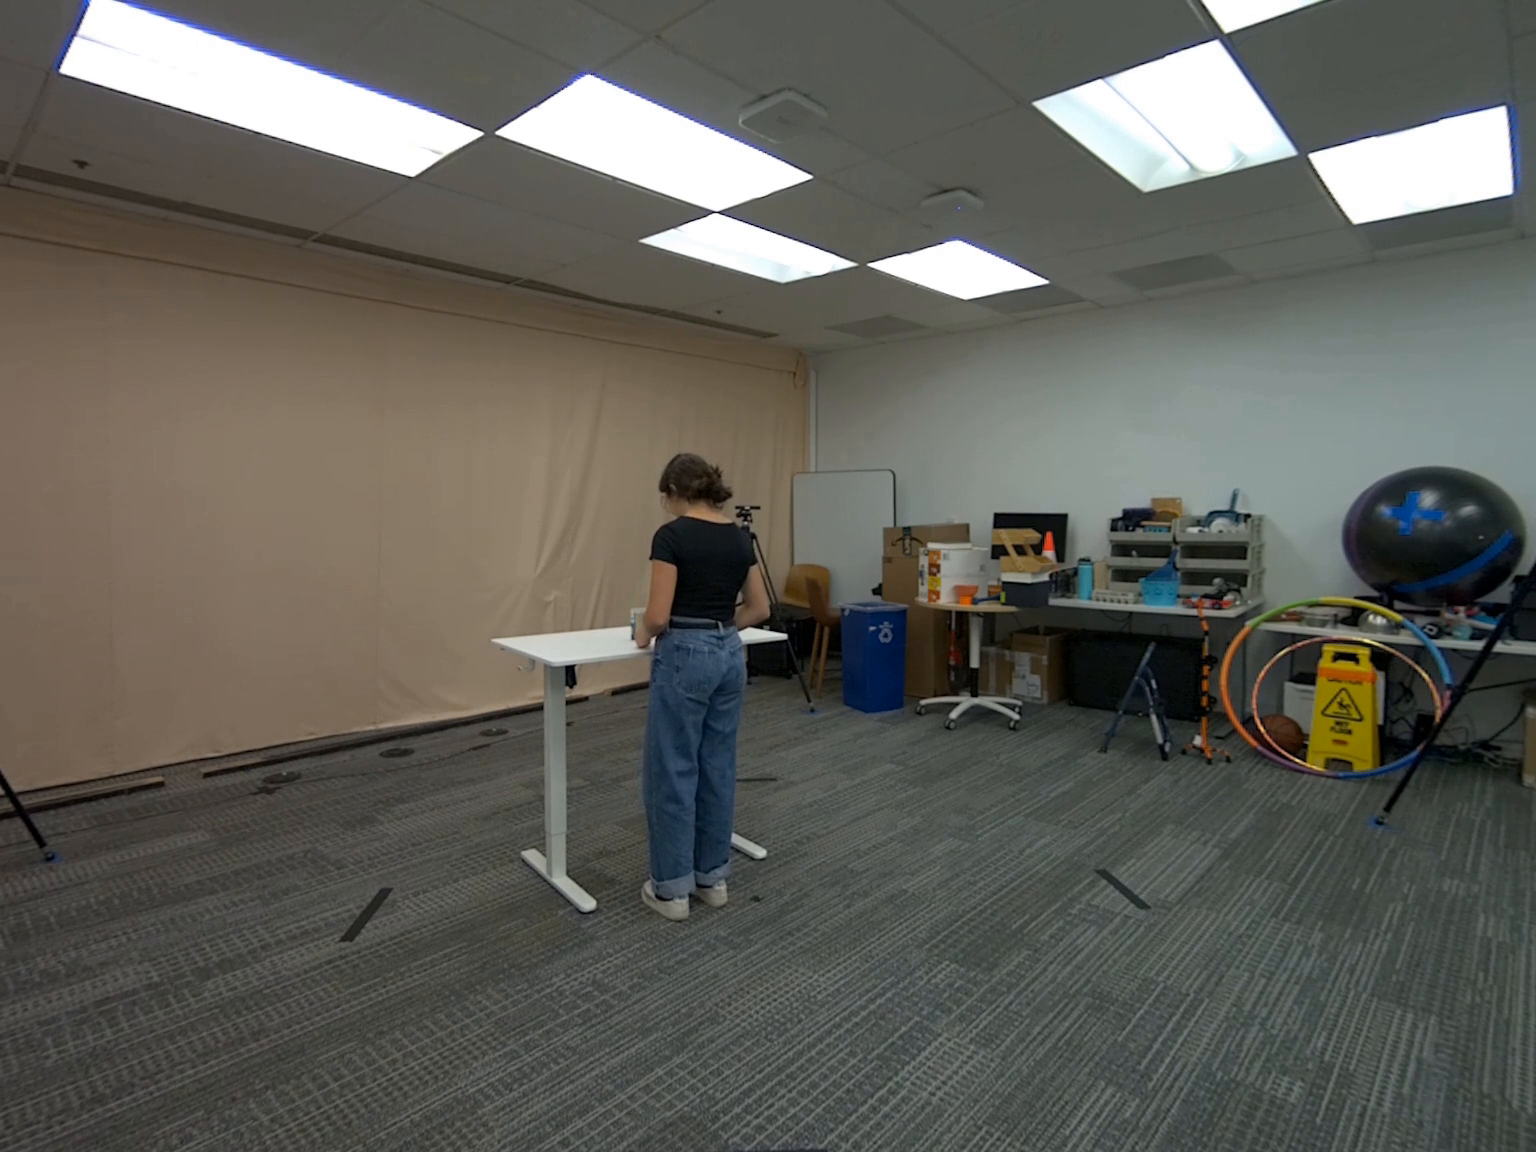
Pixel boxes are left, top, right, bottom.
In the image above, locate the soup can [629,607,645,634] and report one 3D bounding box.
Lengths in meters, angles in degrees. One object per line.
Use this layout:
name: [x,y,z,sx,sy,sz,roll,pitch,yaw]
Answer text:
soup can: [-0.498,0.188,3.241,0.067,0.121,0.067,1,2,-2]
